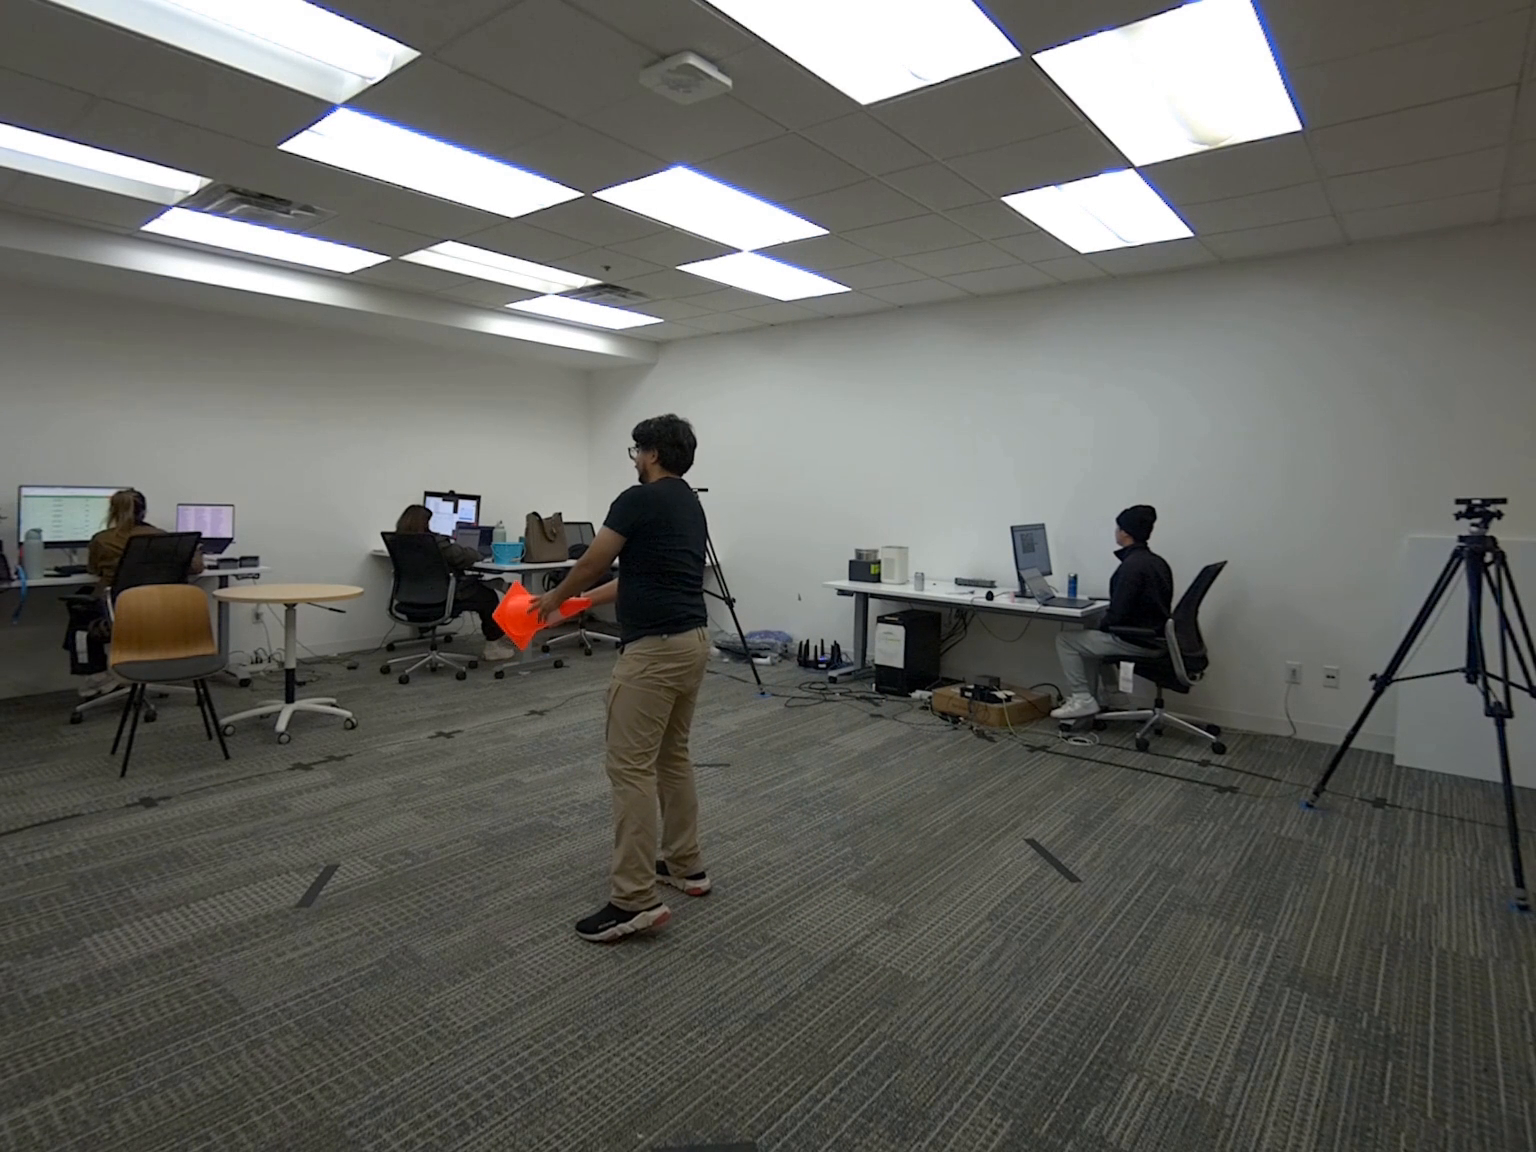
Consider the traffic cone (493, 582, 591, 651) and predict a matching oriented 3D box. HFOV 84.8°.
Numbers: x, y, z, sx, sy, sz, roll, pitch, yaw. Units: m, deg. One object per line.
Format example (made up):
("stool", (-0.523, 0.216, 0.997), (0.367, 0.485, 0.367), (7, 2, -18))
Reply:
("traffic cone", (-0.818, 0.129, 3.165), (0.393, 0.196, 0.207), (-10, 38, 34))
